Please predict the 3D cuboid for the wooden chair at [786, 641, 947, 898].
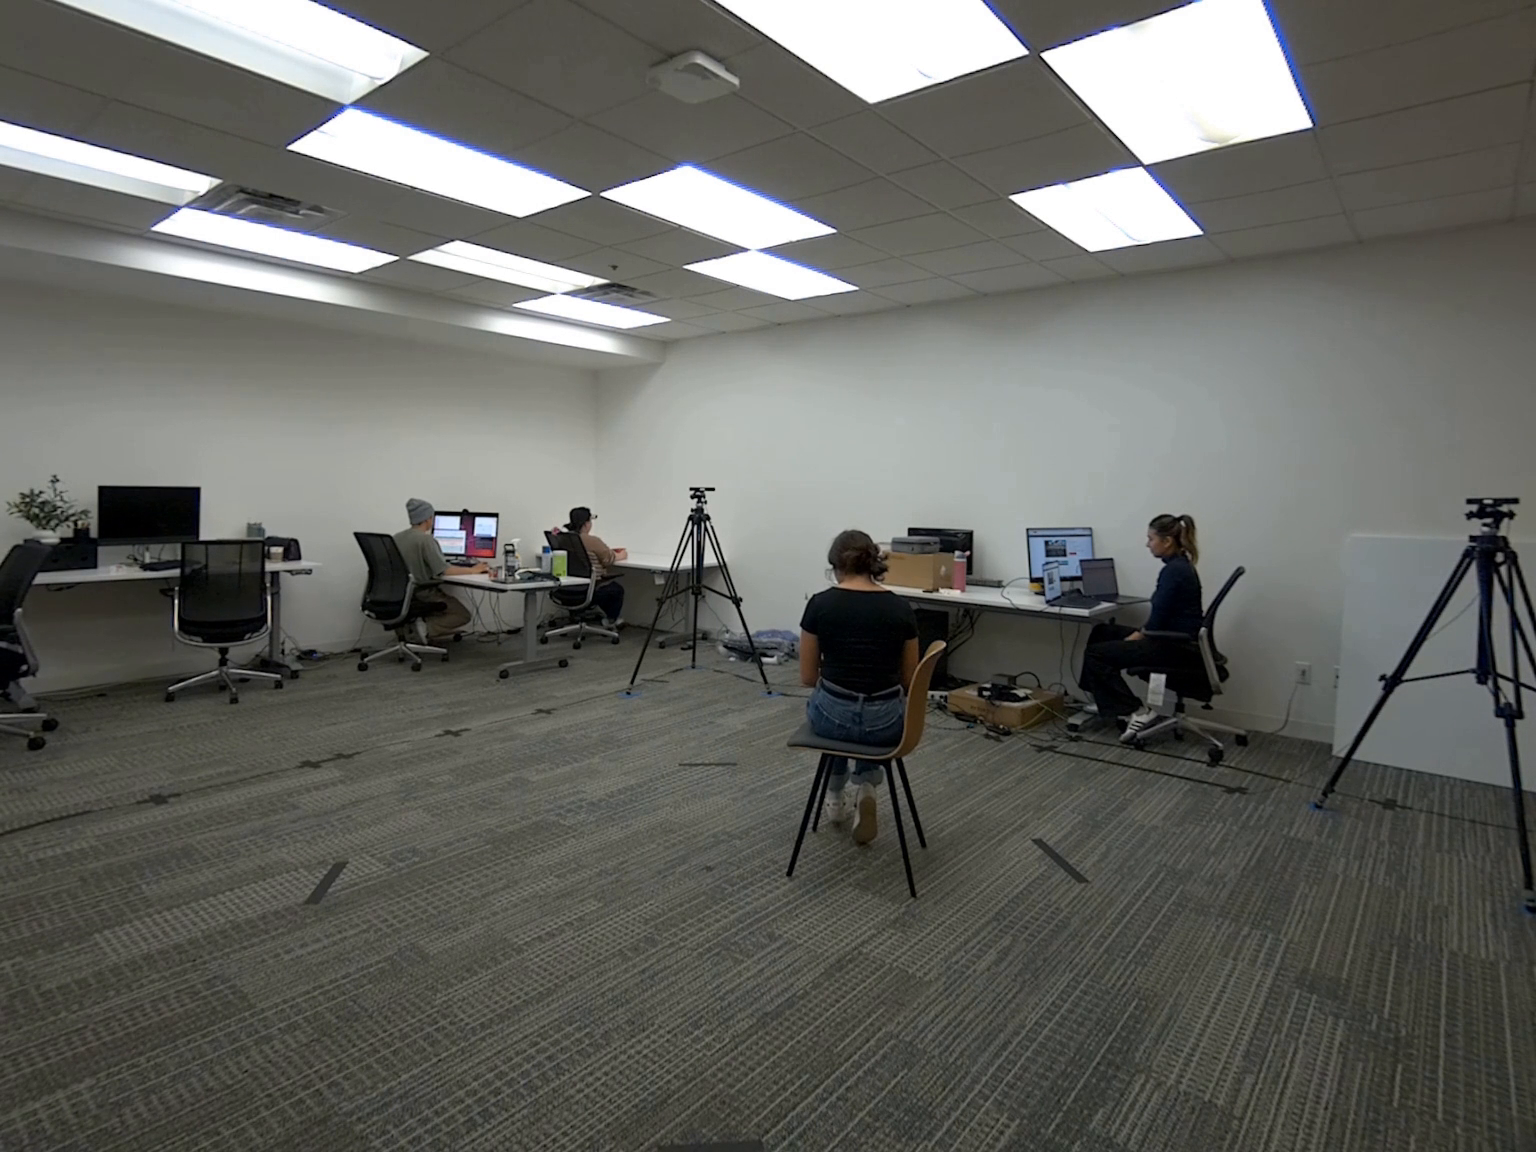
[{"bbox_3d":[0.343,0.651,3.172,0.533,0.875,0.470,7,3,16],"label":"wooden chair"}]
